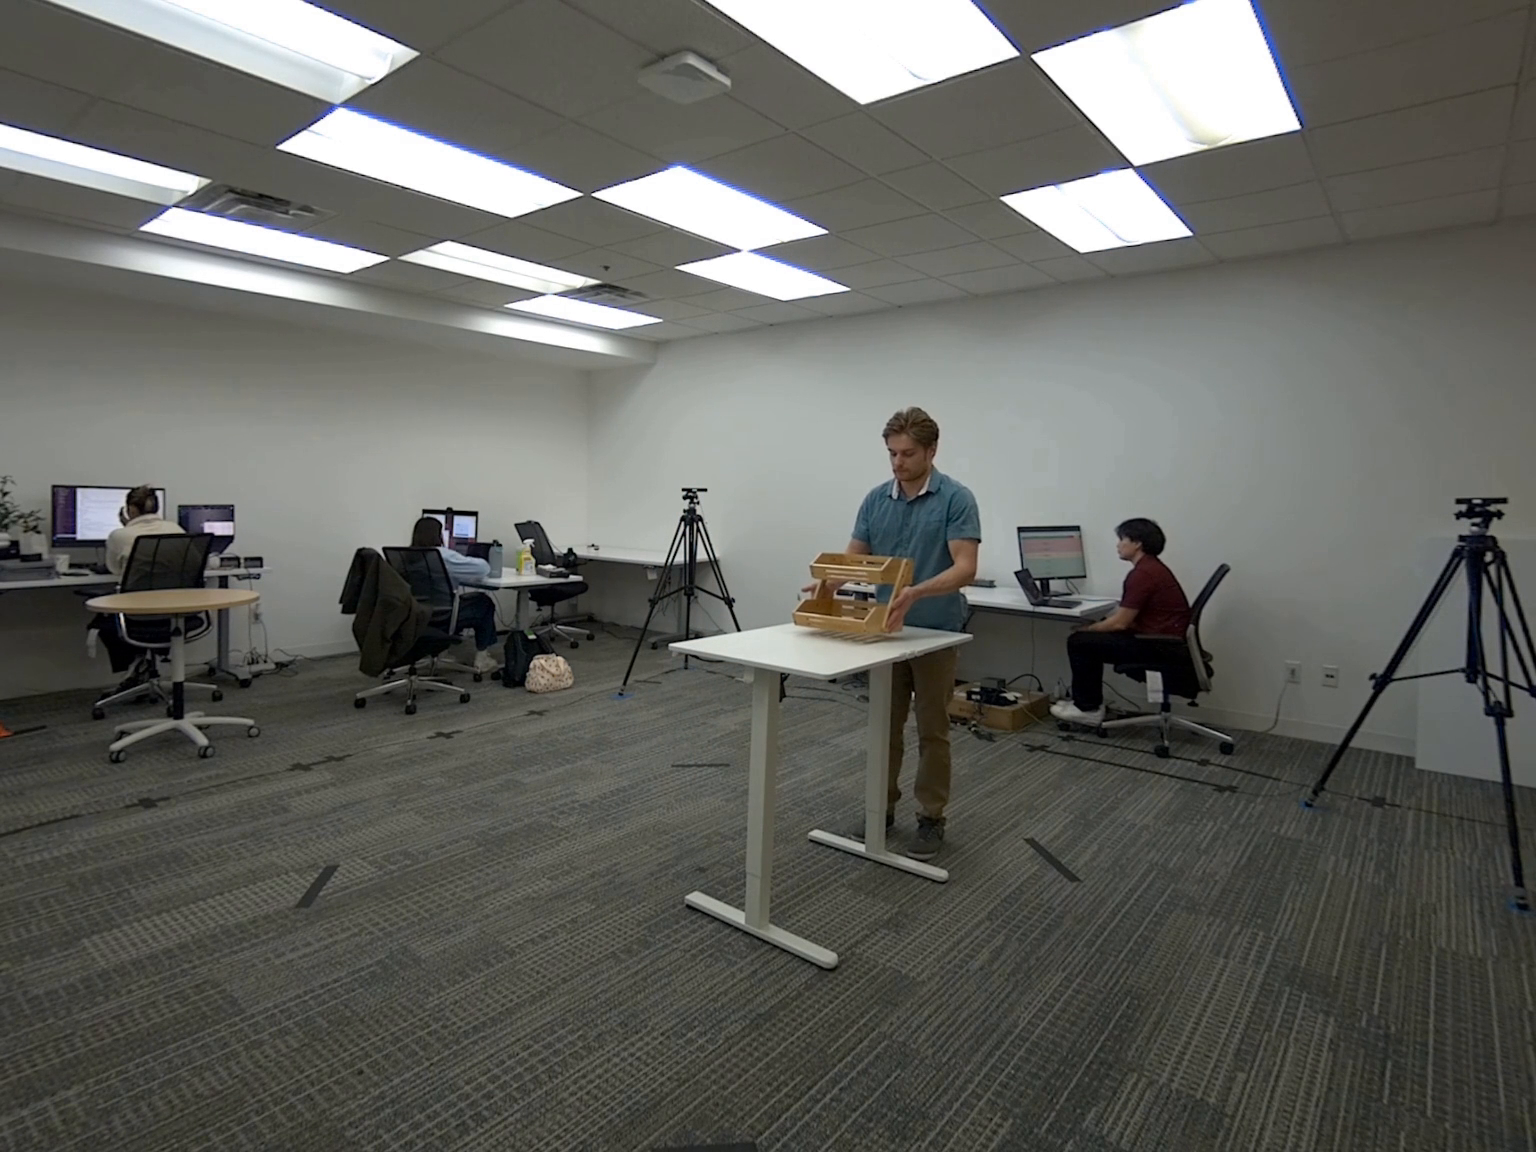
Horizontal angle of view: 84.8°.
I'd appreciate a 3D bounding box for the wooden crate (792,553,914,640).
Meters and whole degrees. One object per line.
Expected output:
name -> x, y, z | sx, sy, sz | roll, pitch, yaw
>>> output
wooden crate -> 0.294, 0.051, 3.018 | 0.335, 0.273, 0.292 | 5, 2, 39
